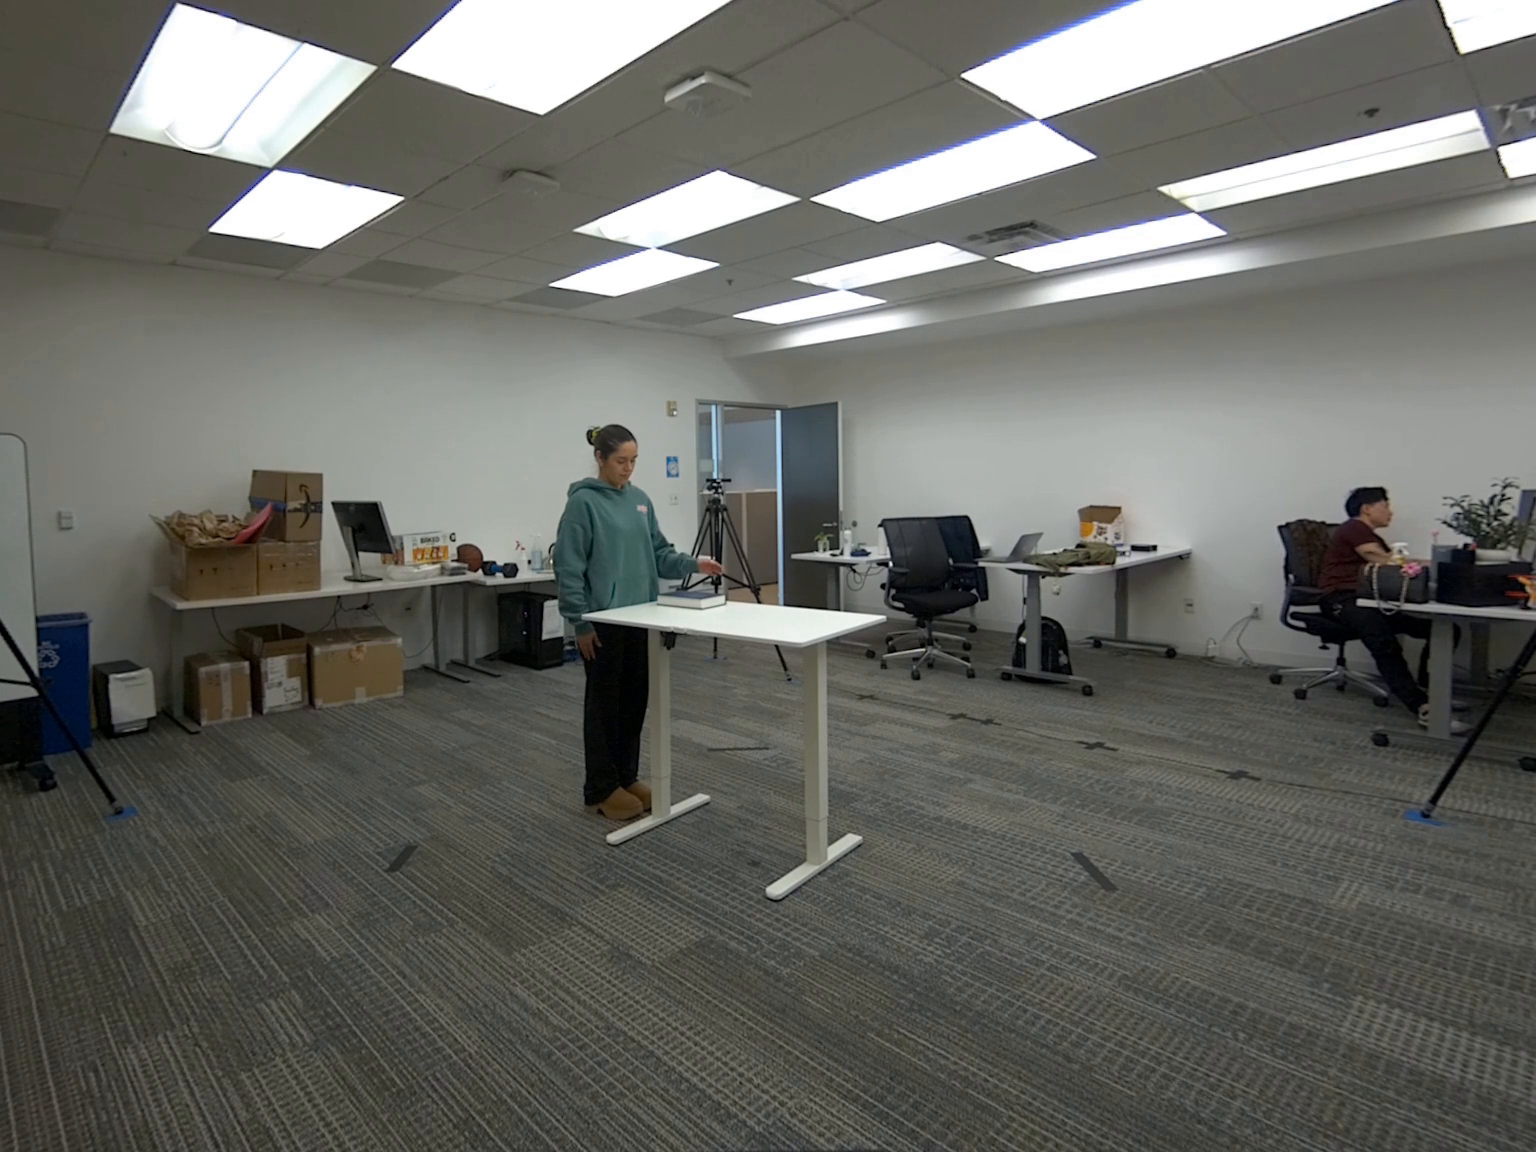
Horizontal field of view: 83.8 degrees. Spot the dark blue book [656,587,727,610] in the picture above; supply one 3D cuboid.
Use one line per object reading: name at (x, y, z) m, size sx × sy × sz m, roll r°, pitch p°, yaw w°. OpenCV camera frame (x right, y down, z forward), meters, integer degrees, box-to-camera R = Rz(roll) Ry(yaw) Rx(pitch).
dark blue book at (-0.306, 0.096, 3.511) m, size 0.252 × 0.045 × 0.159 m, roll 4°, pitch 6°, yaw 35°
